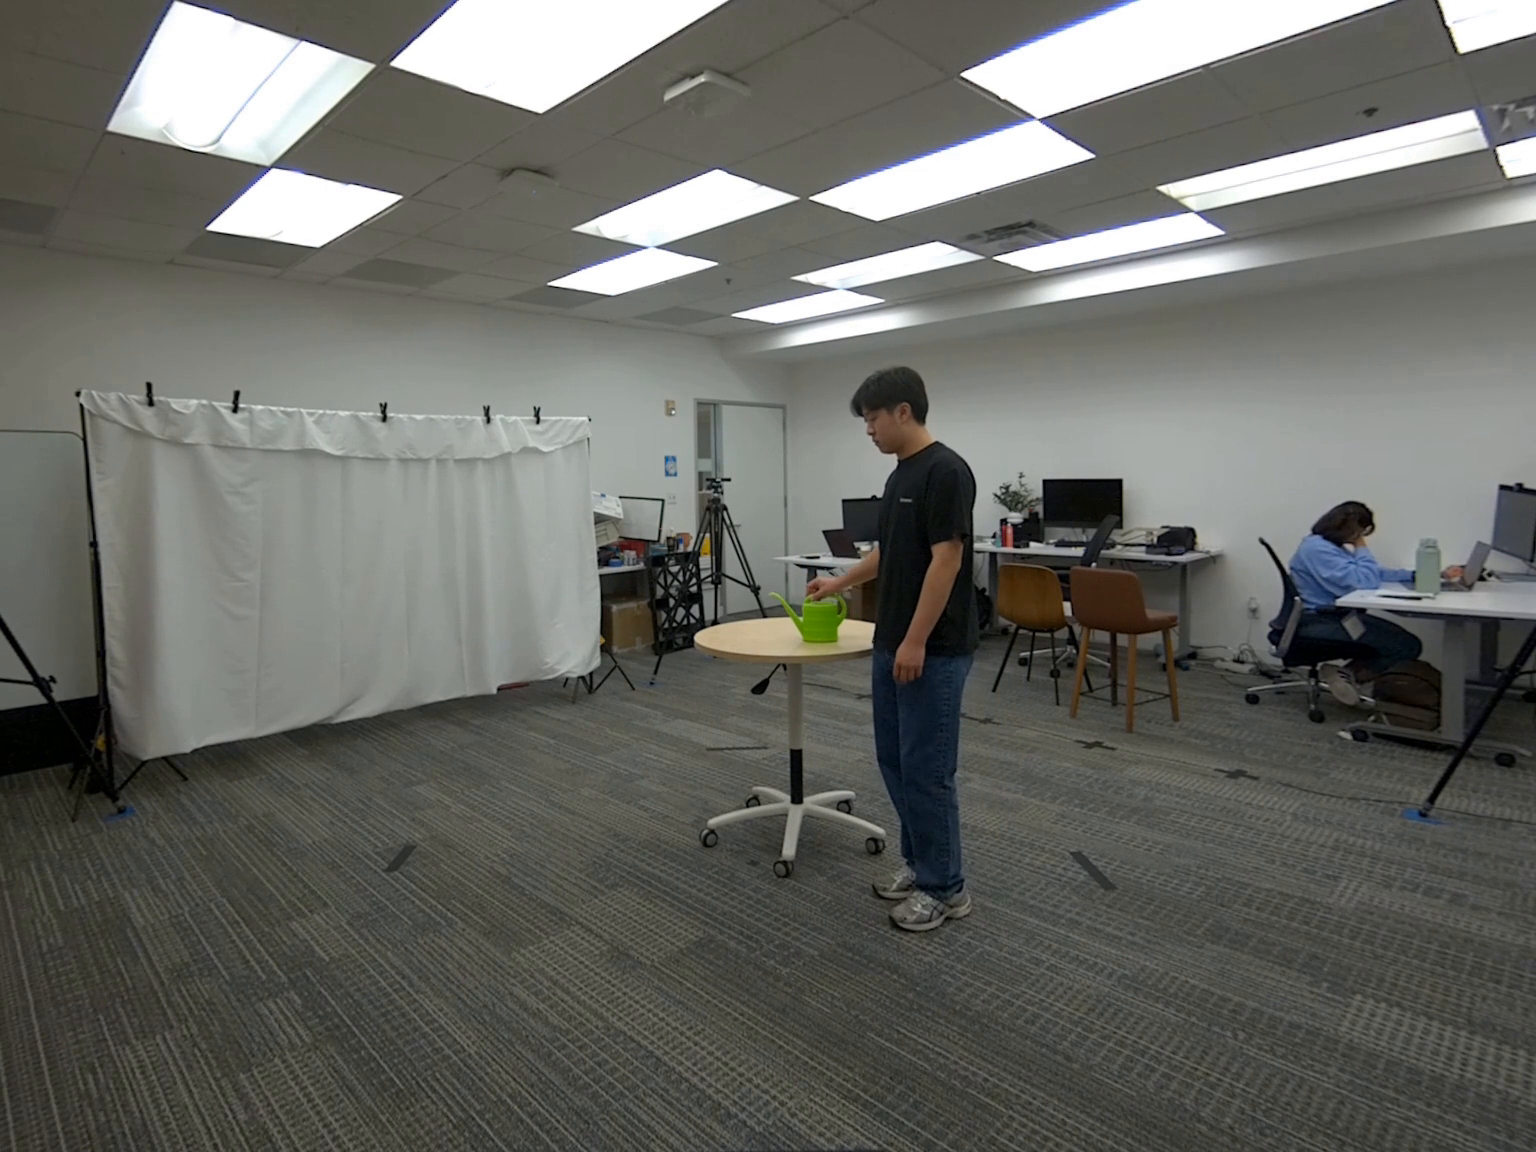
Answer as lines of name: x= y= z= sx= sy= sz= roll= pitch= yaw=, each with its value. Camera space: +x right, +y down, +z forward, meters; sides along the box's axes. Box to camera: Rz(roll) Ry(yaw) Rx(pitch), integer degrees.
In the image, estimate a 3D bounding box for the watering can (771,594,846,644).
watering can: x=0.156 y=0.151 z=3.154 sx=0.285 sy=0.176 sz=0.096 roll=4 pitch=6 yaw=24
